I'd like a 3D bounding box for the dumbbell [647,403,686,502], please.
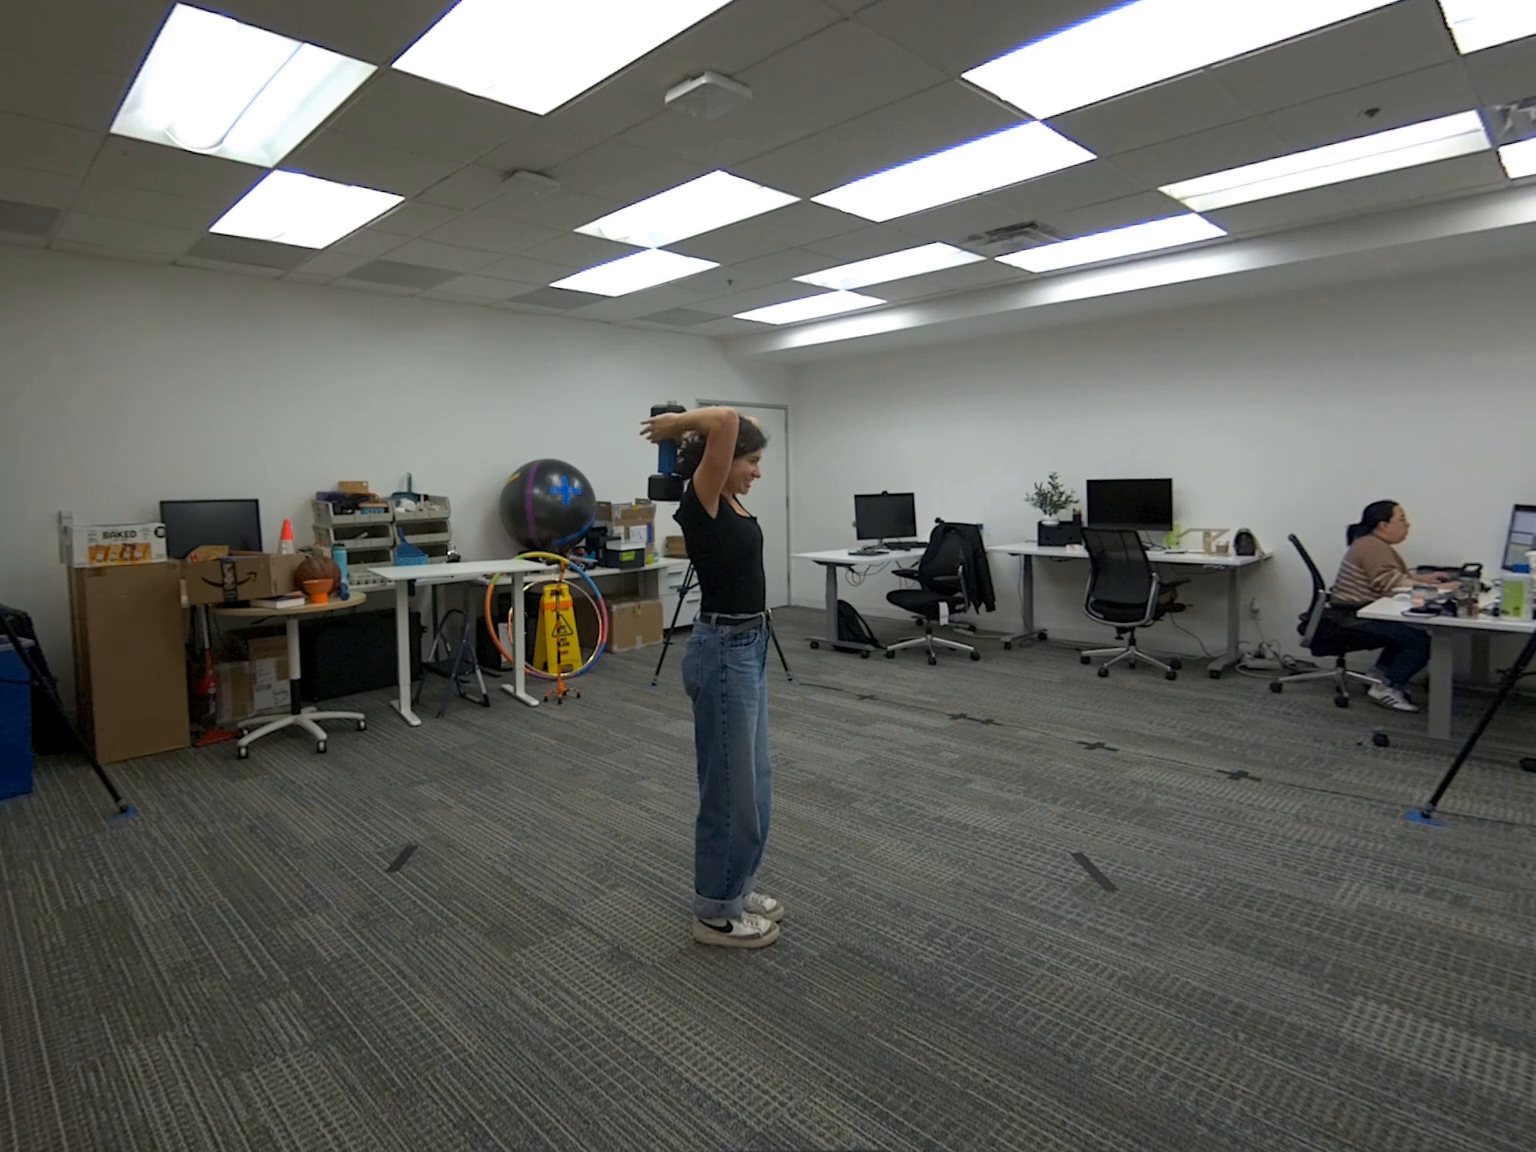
[{"bbox_3d":[-0.299,-0.382,2.617,0.126,0.293,0.106,2,2,33],"label":"dumbbell"}]
